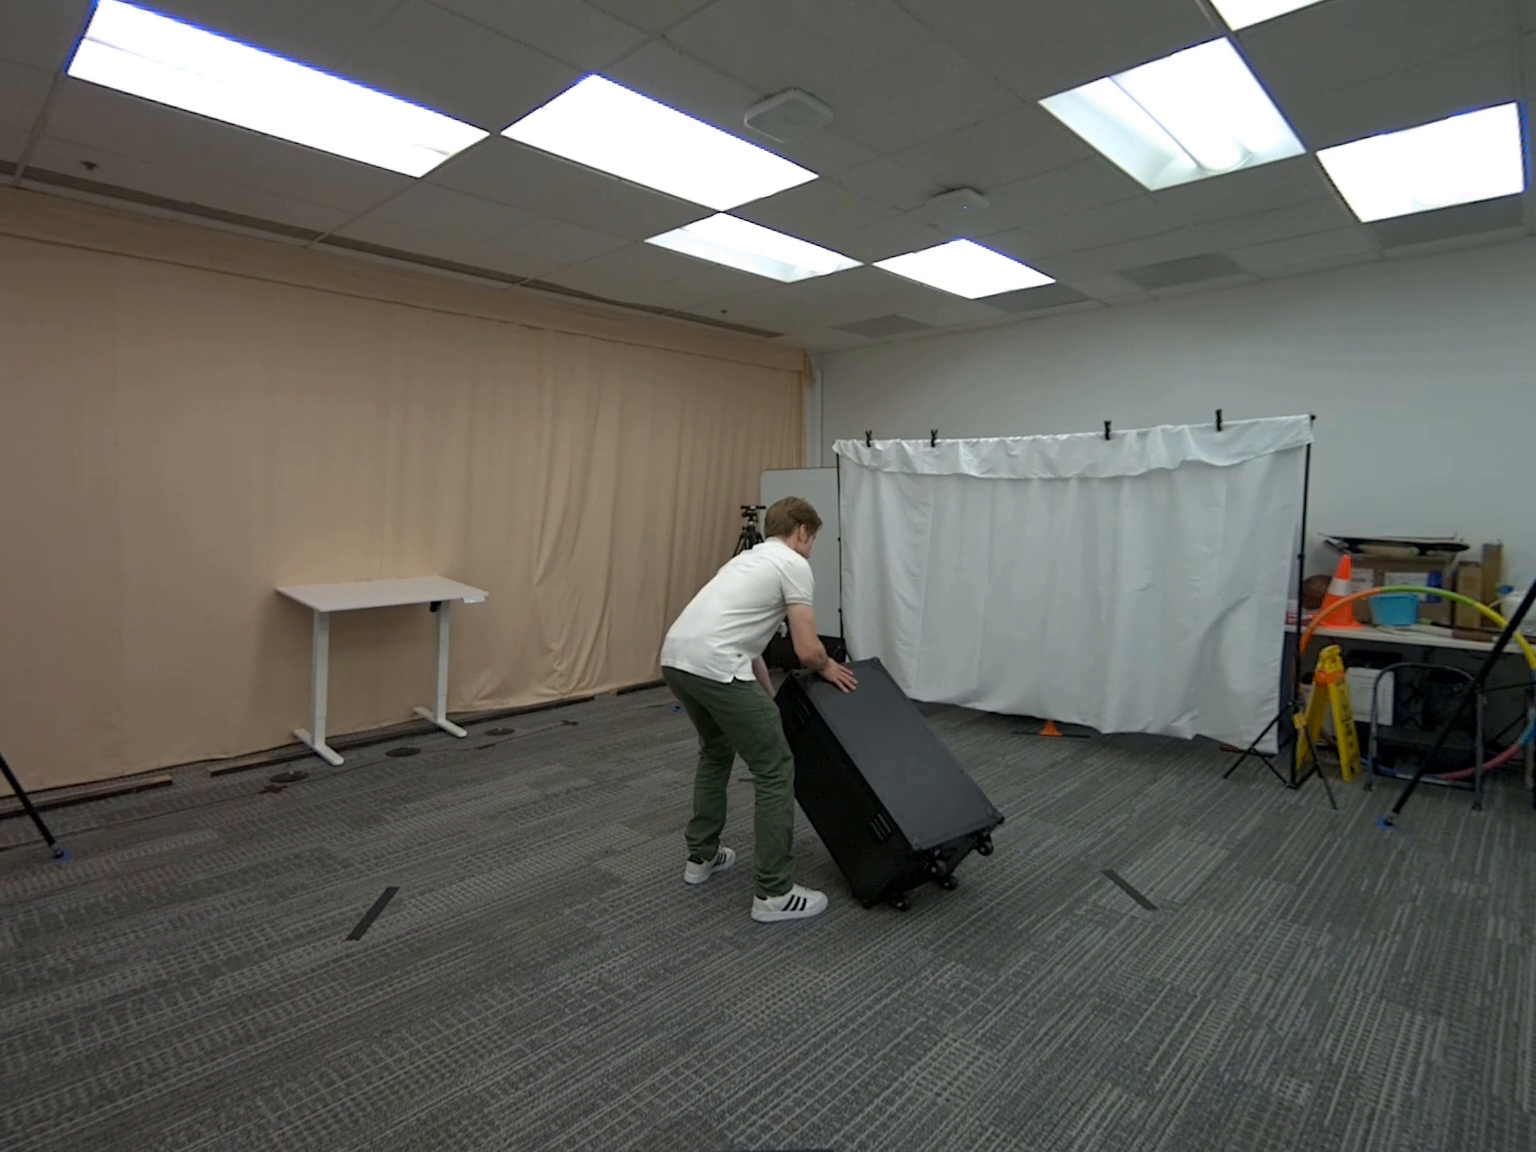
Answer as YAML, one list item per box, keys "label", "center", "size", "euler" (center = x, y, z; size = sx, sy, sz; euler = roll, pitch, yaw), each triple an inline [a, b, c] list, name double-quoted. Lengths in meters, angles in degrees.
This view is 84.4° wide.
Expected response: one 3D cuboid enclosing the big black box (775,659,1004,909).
- label: "big black box"
  center: [0.411, 0.769, 3.146]
  size: [0.507, 0.384, 0.897]
  euler: [-2, 43, -39]
